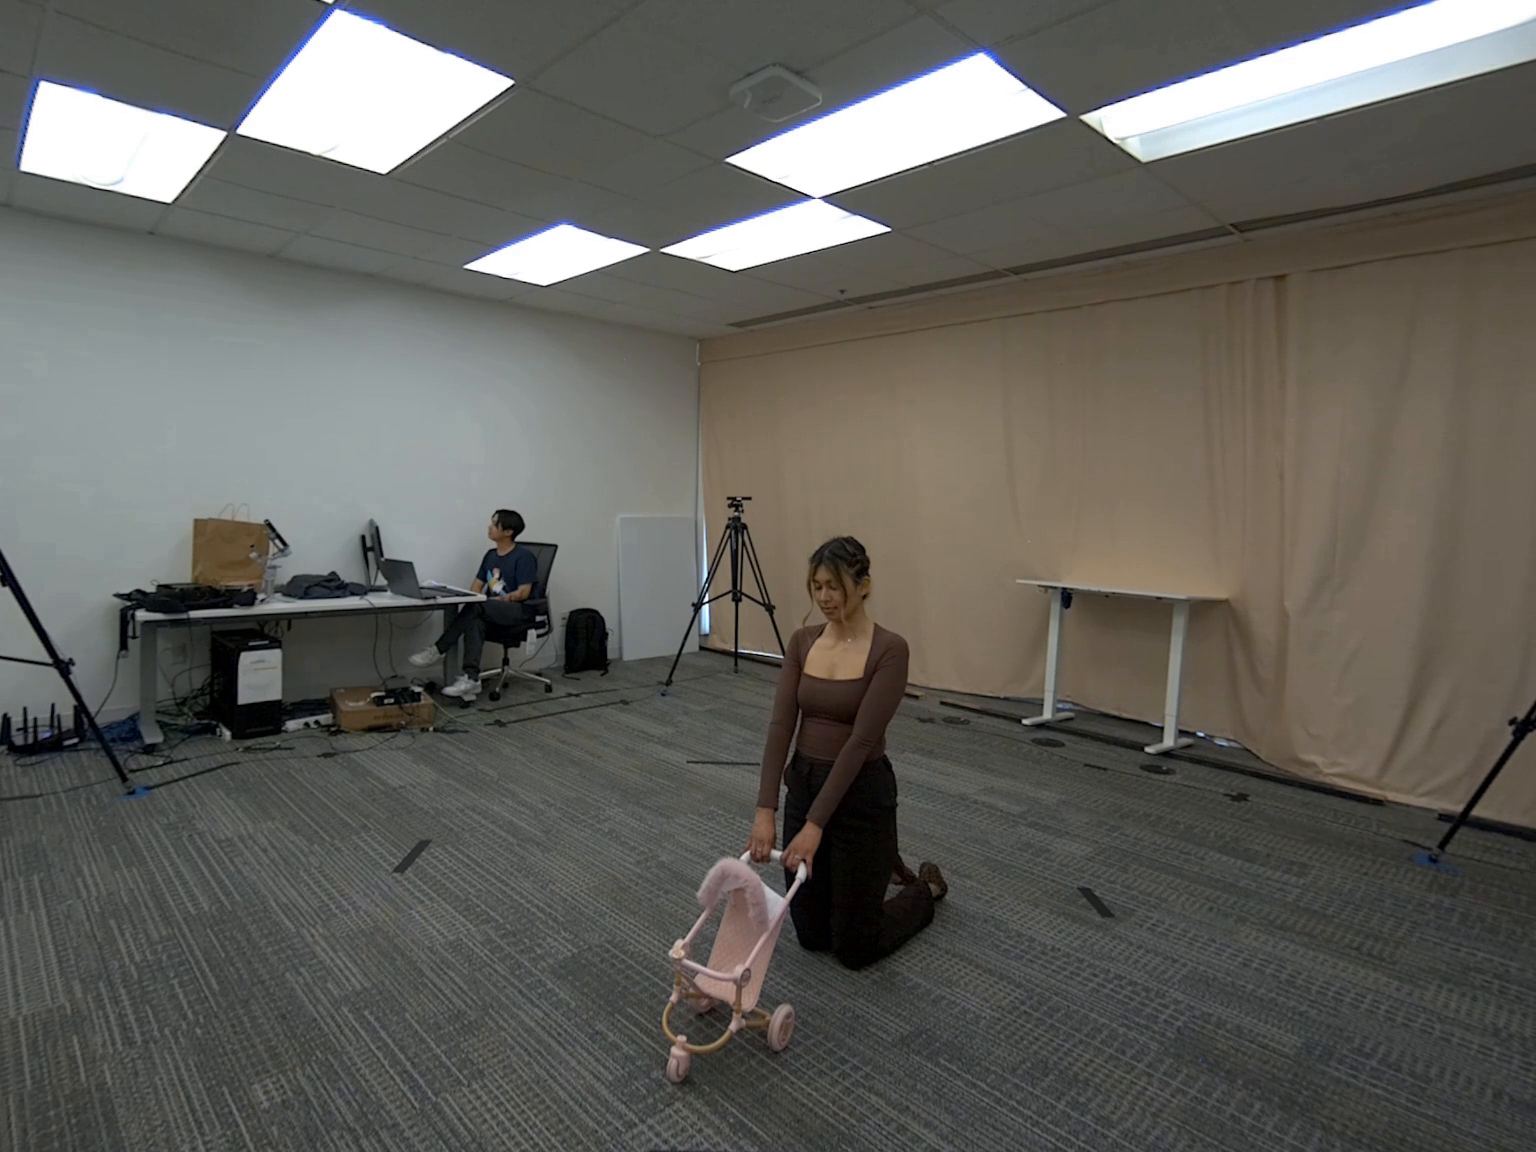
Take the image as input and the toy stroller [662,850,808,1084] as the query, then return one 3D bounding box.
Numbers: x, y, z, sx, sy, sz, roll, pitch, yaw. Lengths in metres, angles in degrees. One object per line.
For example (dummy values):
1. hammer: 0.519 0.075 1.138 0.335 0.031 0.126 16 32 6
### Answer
1. toy stroller: -0.105 0.974 2.148 0.288 0.538 0.331 4 -13 40
